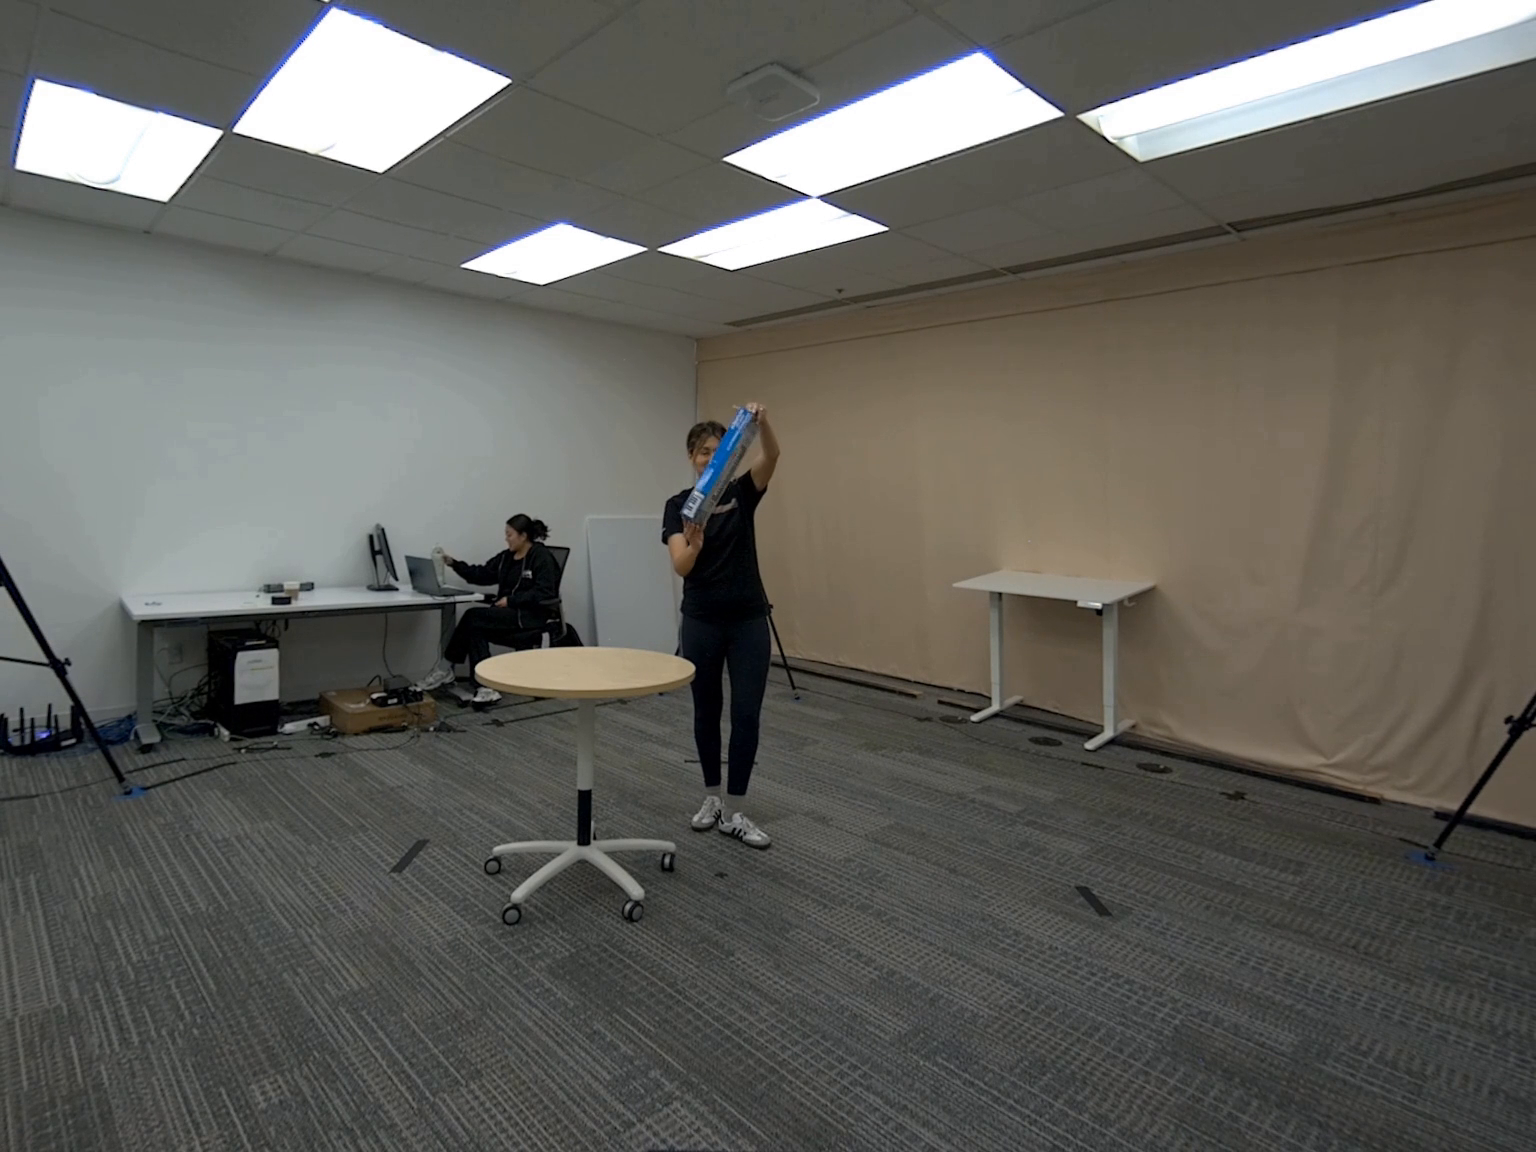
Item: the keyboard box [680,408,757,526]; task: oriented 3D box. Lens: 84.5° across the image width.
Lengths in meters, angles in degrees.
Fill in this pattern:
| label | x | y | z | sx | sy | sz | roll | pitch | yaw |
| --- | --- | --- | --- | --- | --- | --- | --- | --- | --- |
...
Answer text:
| label | x | y | z | sx | sy | sz | roll | pitch | yaw |
| --- | --- | --- | --- | --- | --- | --- | --- | --- | --- |
| keyboard box | -0.177 | -0.388 | 3.040 | 0.060 | 0.436 | 0.174 | 30 | 2 | 9 |
